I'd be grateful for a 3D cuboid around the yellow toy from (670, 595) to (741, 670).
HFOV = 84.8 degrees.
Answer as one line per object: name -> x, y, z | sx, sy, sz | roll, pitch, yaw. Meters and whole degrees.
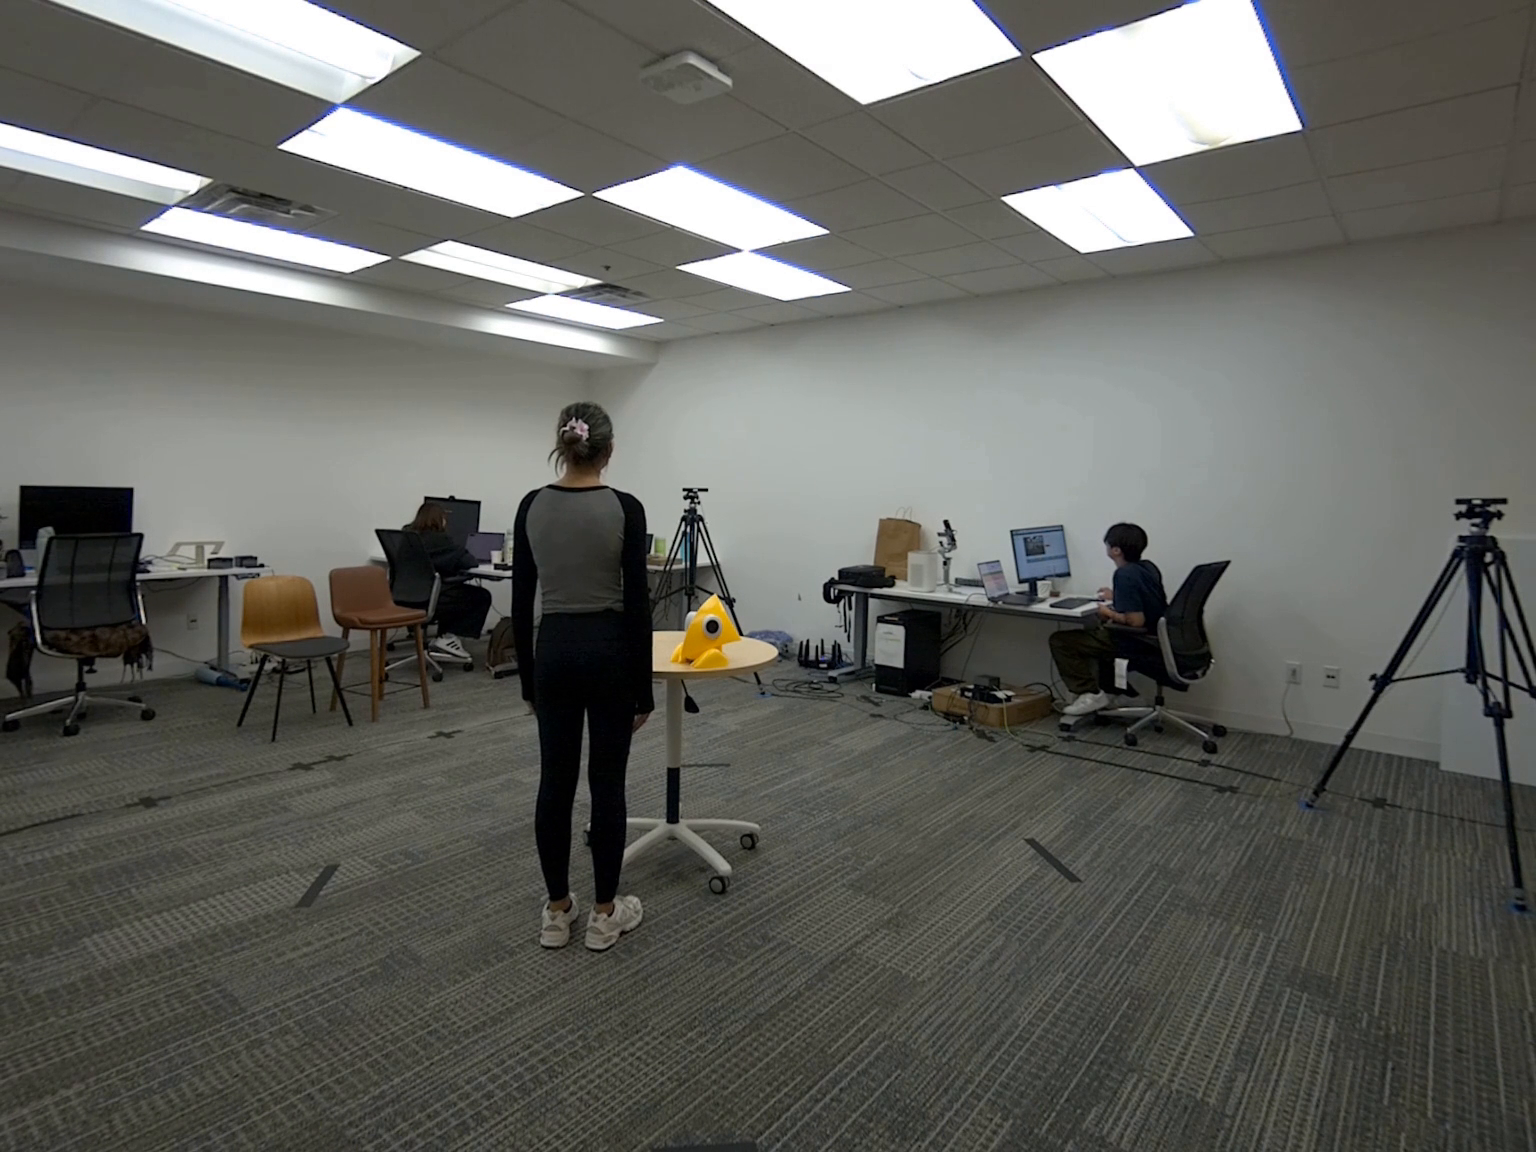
yellow toy -> -0.238, 0.181, 2.933 | 0.212, 0.230, 0.187 | 5, 7, 45
